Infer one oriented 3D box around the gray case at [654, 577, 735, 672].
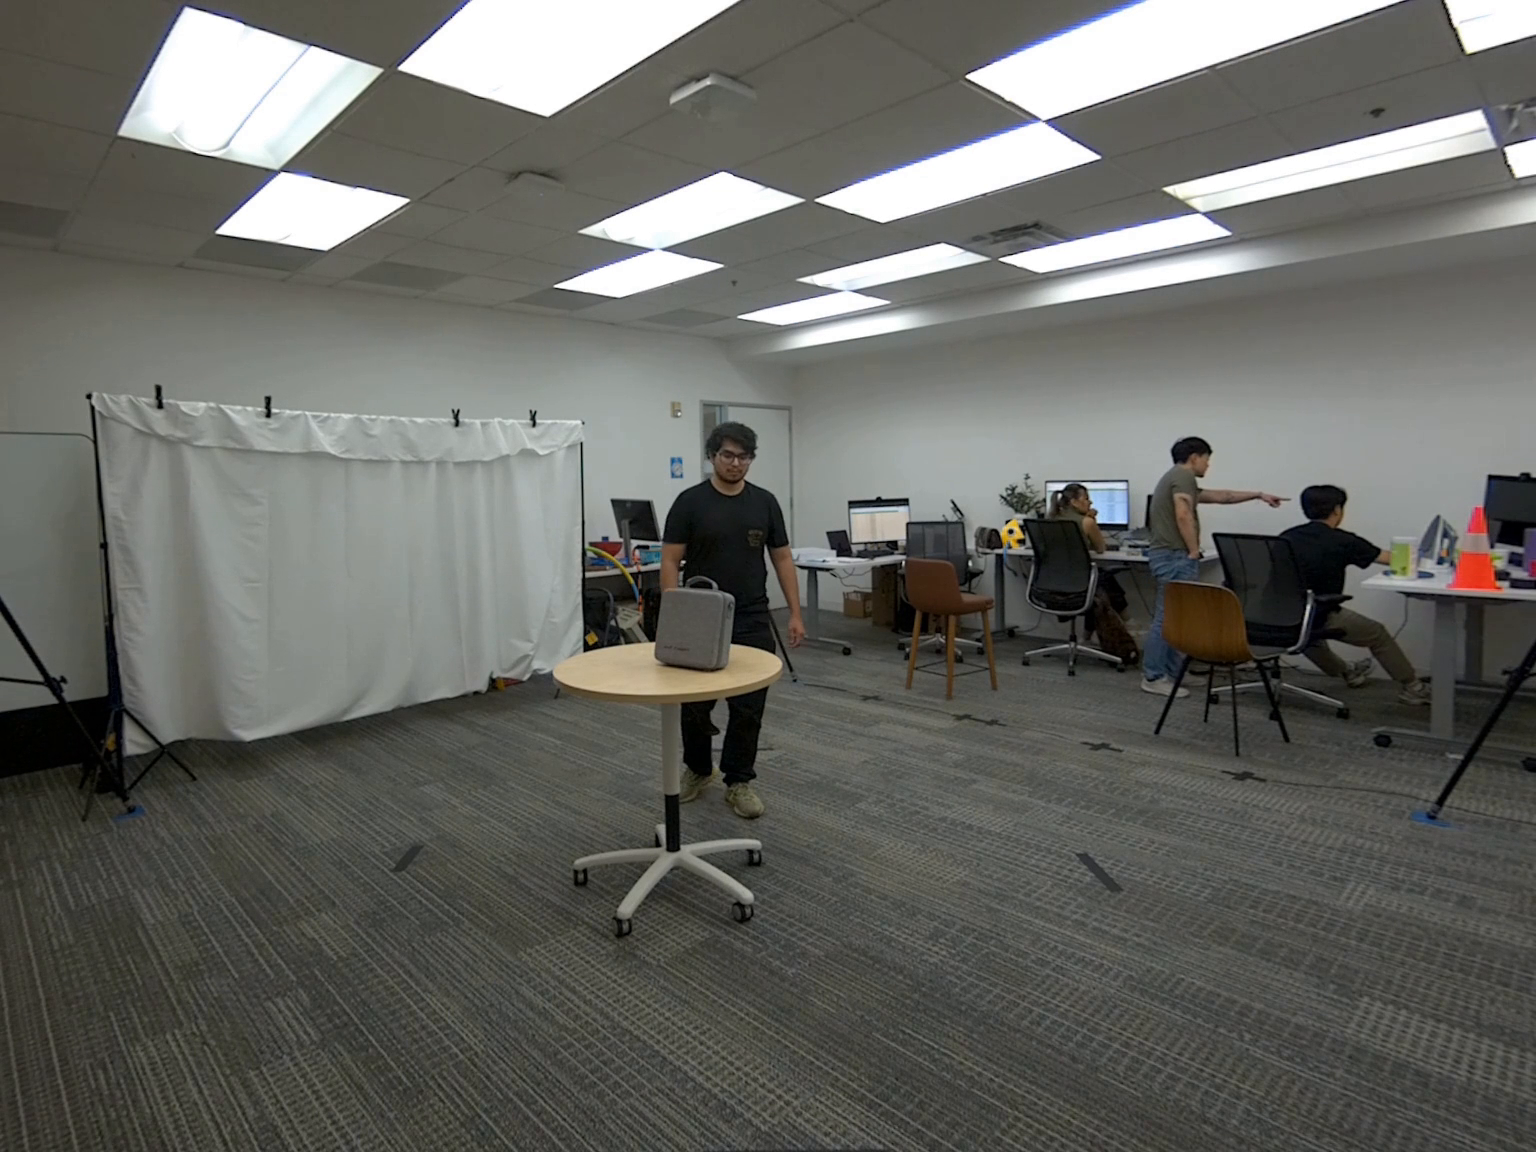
[{"bbox_3d":[-0.246,0.171,2.849,0.264,0.262,0.101,3,-7,33],"label":"gray case"}]
